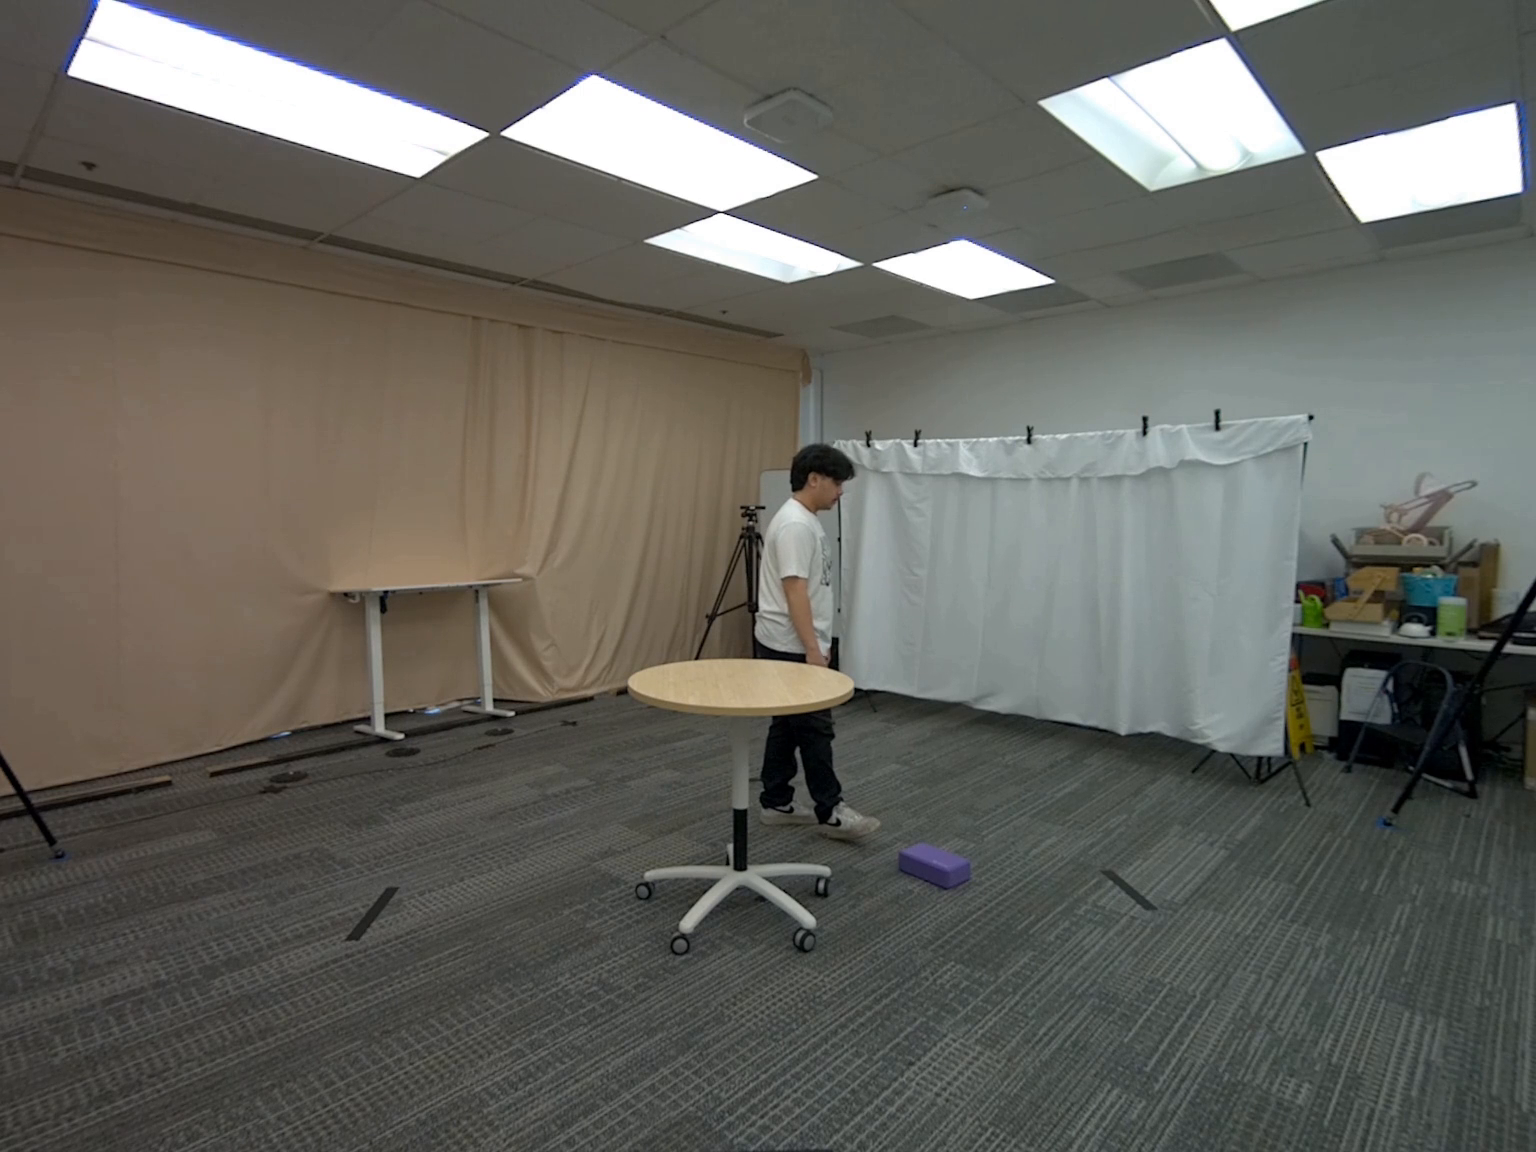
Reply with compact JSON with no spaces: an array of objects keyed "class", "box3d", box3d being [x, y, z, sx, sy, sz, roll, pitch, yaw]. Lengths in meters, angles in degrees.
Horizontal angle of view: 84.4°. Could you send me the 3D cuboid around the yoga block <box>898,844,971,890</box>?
[{"class":"yoga block","box3d":[0.629,1.088,3.173,0.144,0.076,0.237,-4,7,-42]}]
